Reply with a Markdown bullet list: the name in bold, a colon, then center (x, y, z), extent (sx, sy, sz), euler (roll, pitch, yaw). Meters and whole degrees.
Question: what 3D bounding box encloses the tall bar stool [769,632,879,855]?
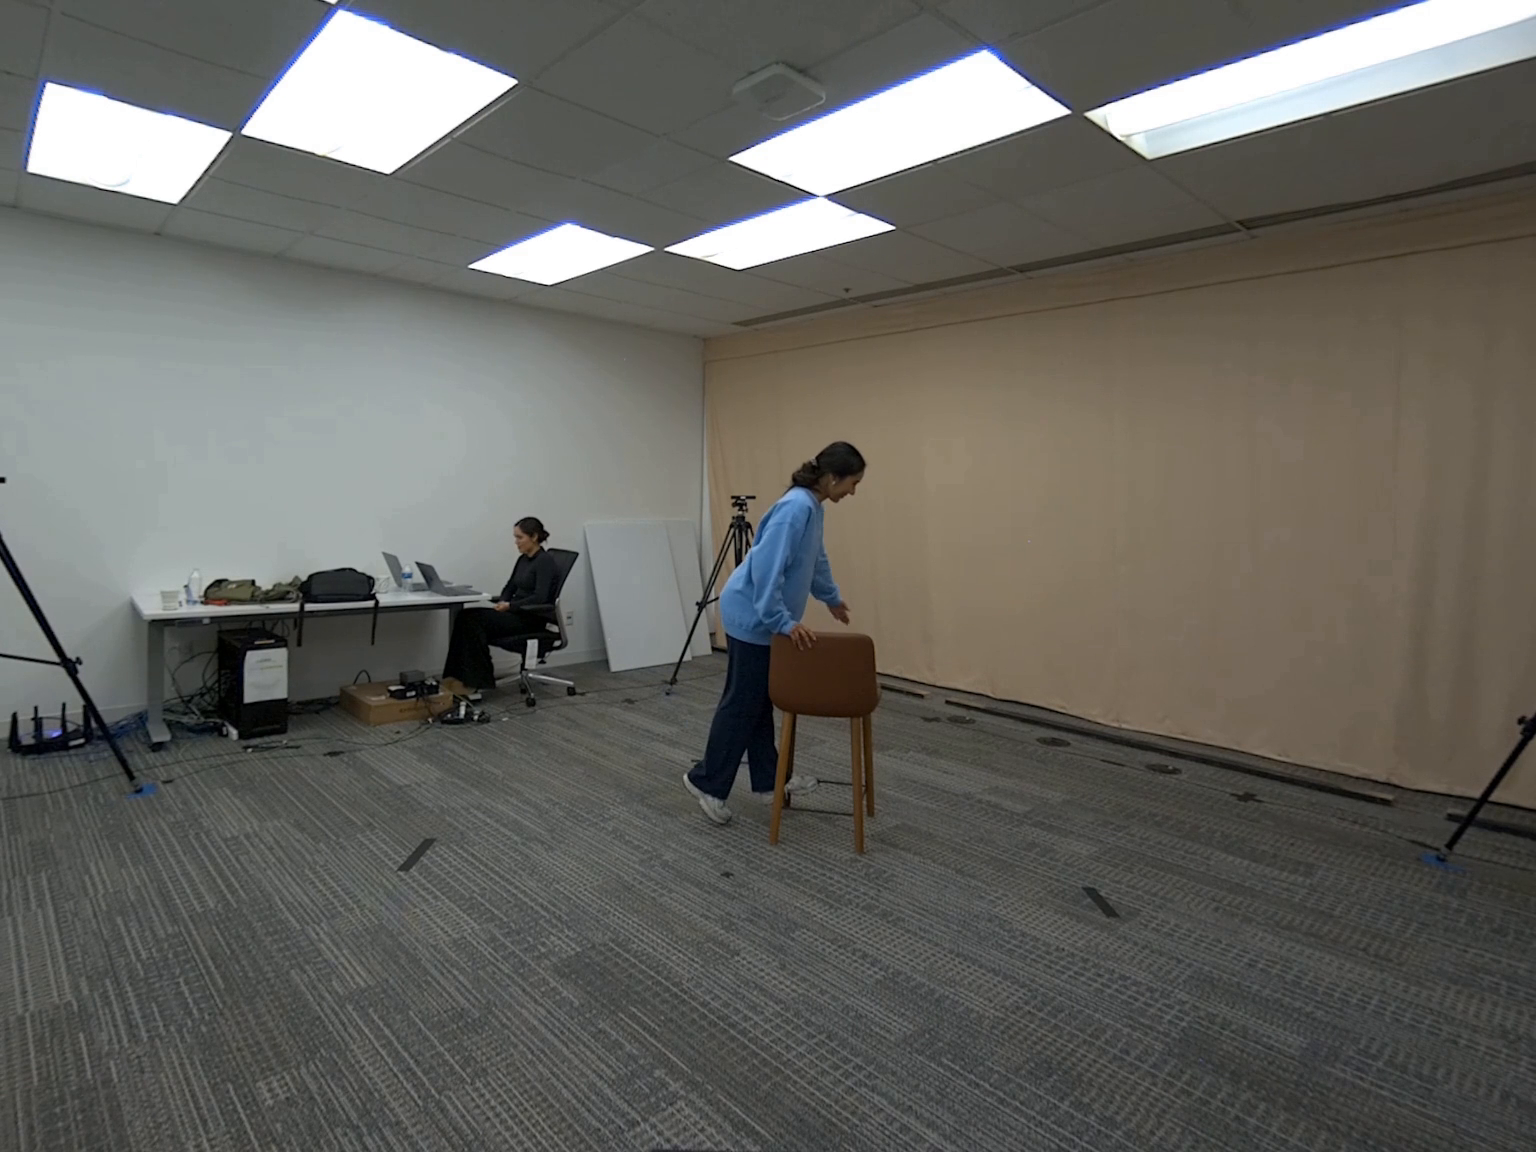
- **tall bar stool**: center (0.238, 0.638, 3.542), extent (0.462, 0.887, 0.464), euler (2, 4, 13)
